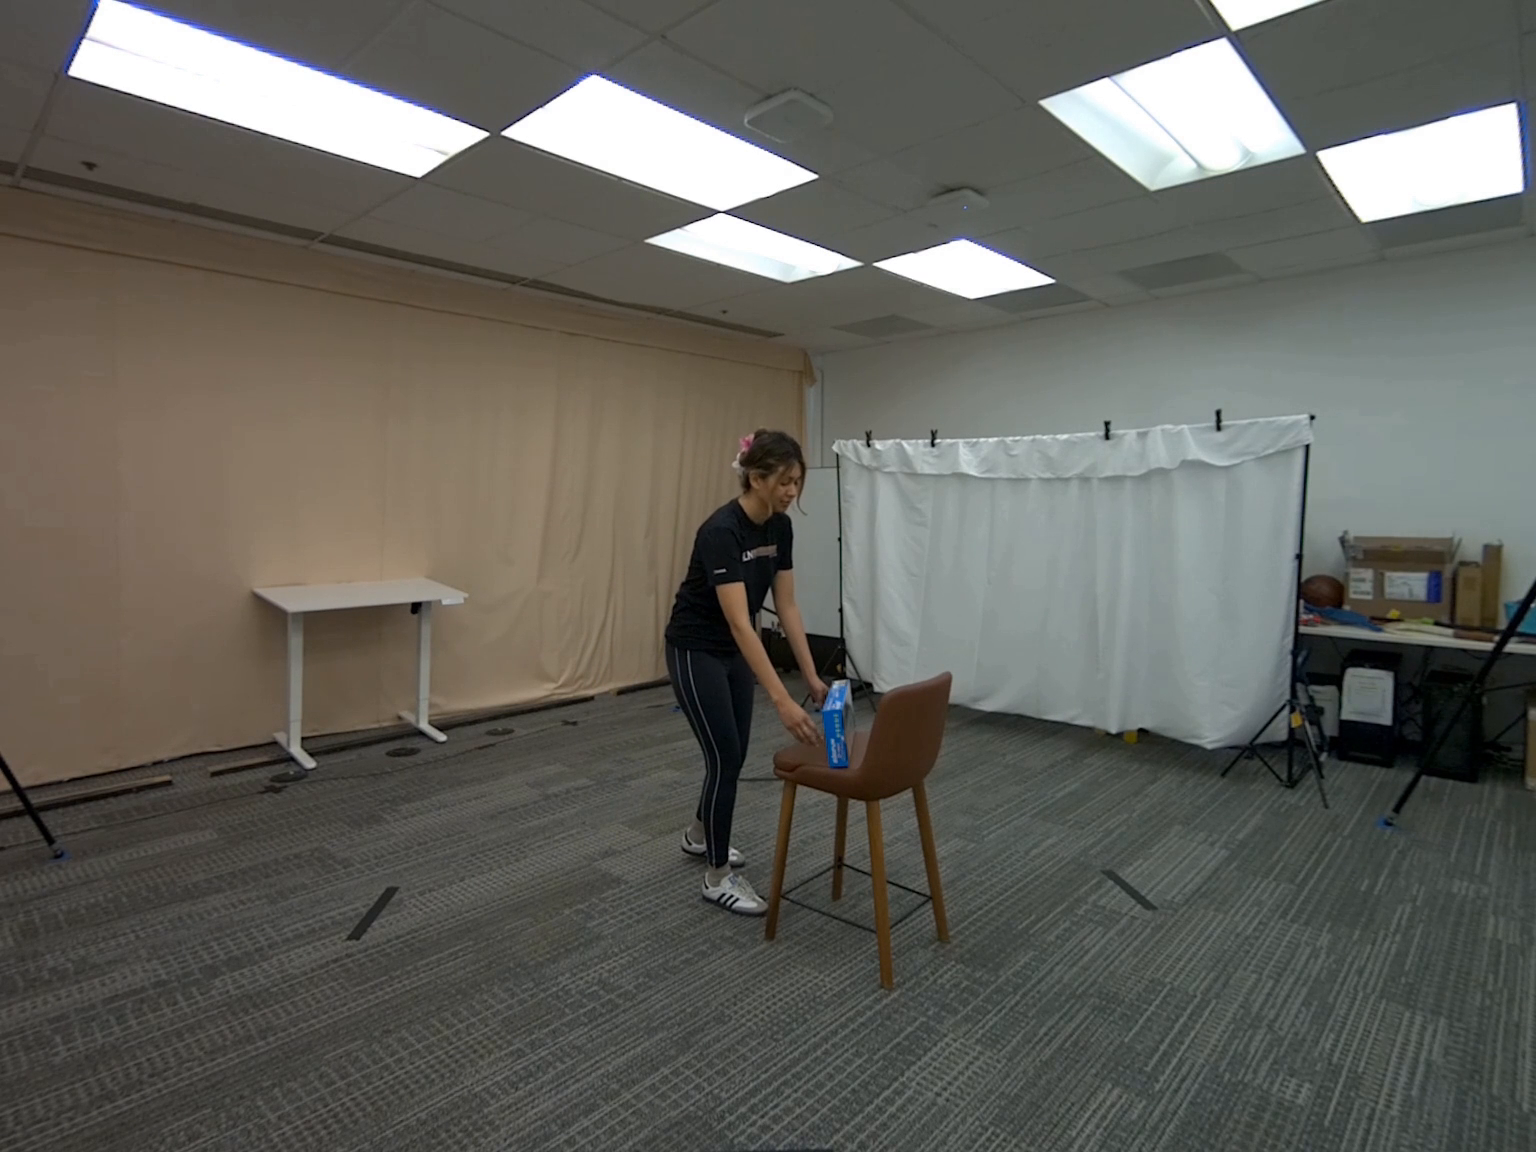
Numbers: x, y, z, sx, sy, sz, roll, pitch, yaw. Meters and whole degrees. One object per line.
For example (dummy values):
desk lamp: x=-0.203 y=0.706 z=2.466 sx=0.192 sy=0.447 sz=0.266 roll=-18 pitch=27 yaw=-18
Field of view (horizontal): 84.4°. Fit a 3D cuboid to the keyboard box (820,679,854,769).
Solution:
keyboard box: x=0.233 y=0.458 z=2.699 sx=0.060 sy=0.176 sz=0.432 roll=-6 pitch=2 yaw=10
